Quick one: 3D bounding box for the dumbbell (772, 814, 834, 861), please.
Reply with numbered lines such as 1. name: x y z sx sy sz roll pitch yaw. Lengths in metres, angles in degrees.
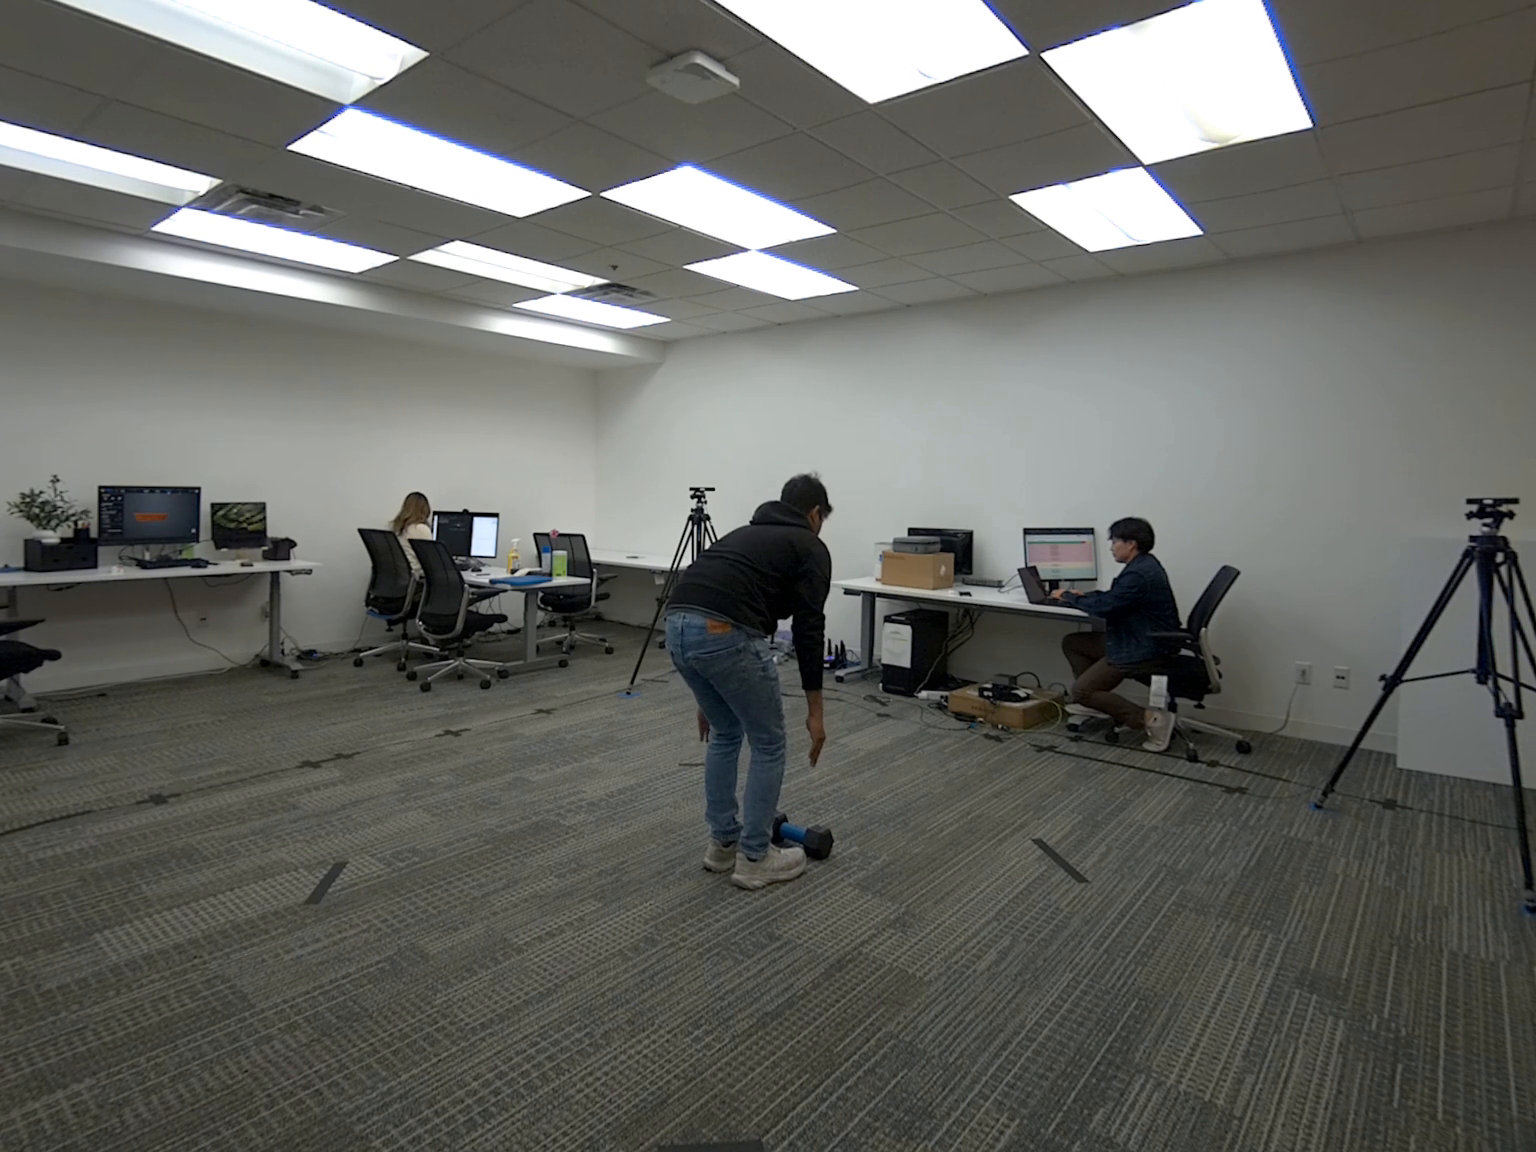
1. dumbbell: 0.099 1.000 3.306 0.303 0.108 0.119 6 5 40
